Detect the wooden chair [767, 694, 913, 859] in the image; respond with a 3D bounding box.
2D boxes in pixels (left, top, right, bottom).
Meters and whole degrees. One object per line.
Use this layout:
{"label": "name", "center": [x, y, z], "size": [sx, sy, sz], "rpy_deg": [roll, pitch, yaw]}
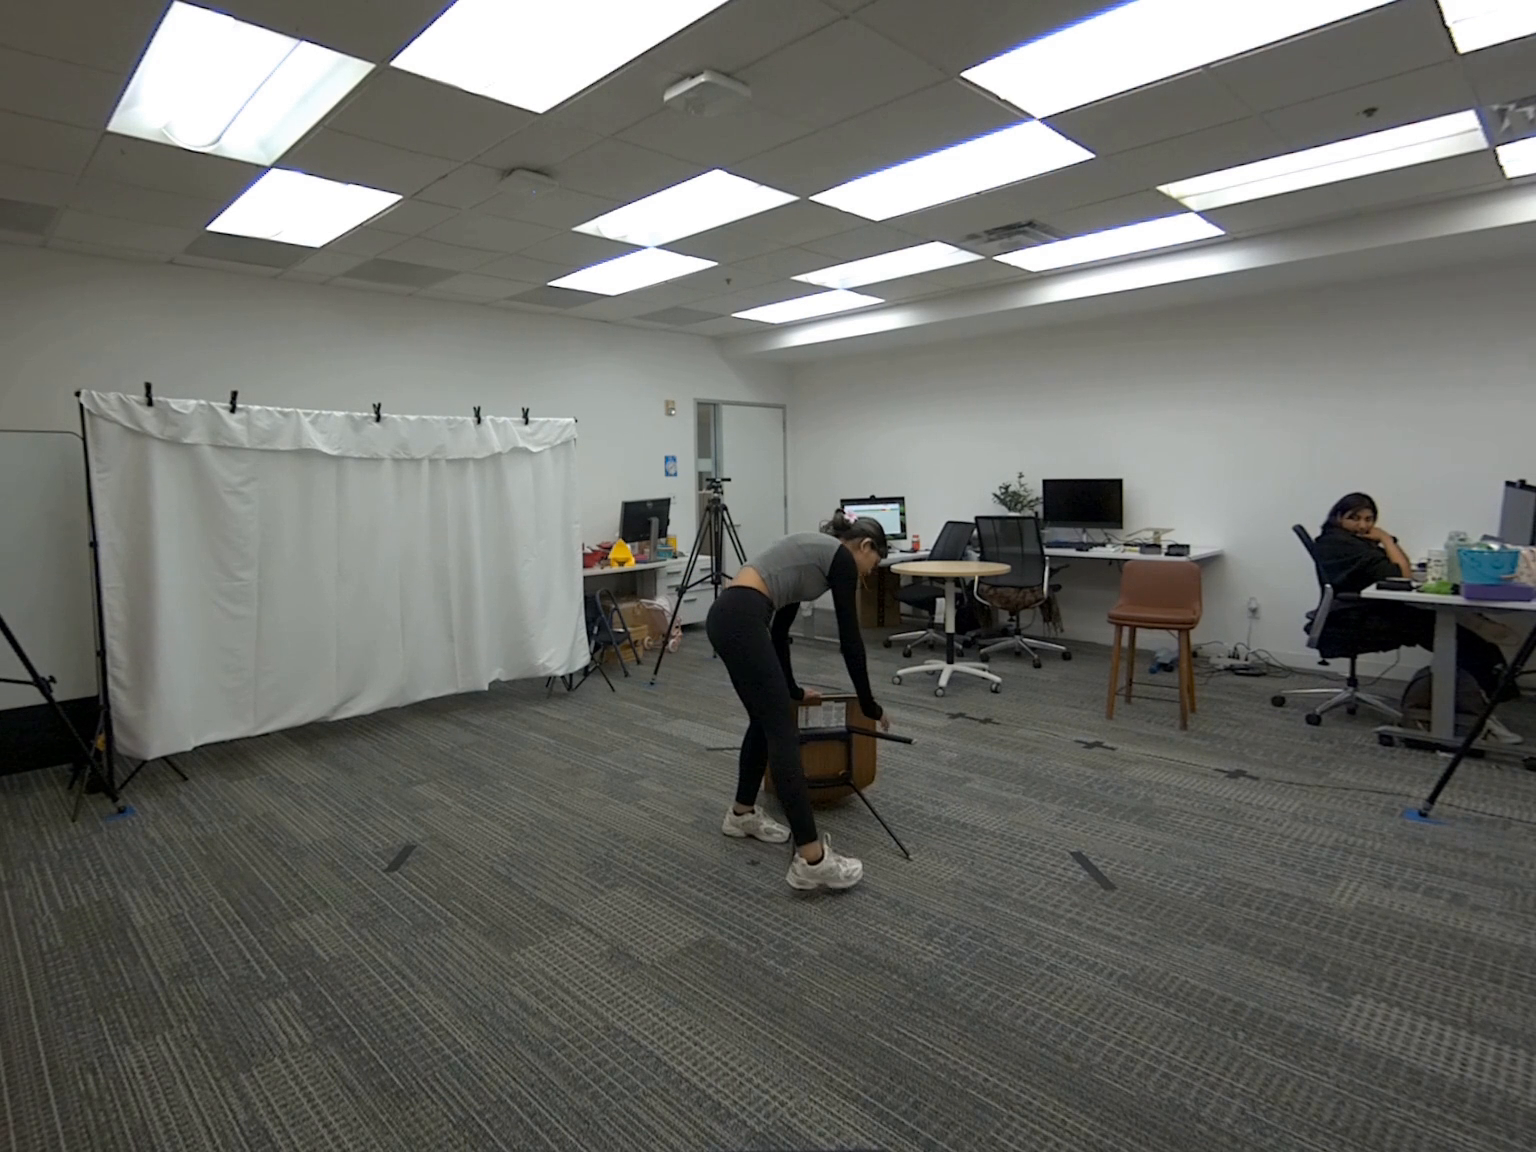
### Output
{"label": "wooden chair", "center": [0.230, 0.738, 3.463], "size": [0.474, 0.521, 0.888], "rpy_deg": [-1, 5, -10]}
